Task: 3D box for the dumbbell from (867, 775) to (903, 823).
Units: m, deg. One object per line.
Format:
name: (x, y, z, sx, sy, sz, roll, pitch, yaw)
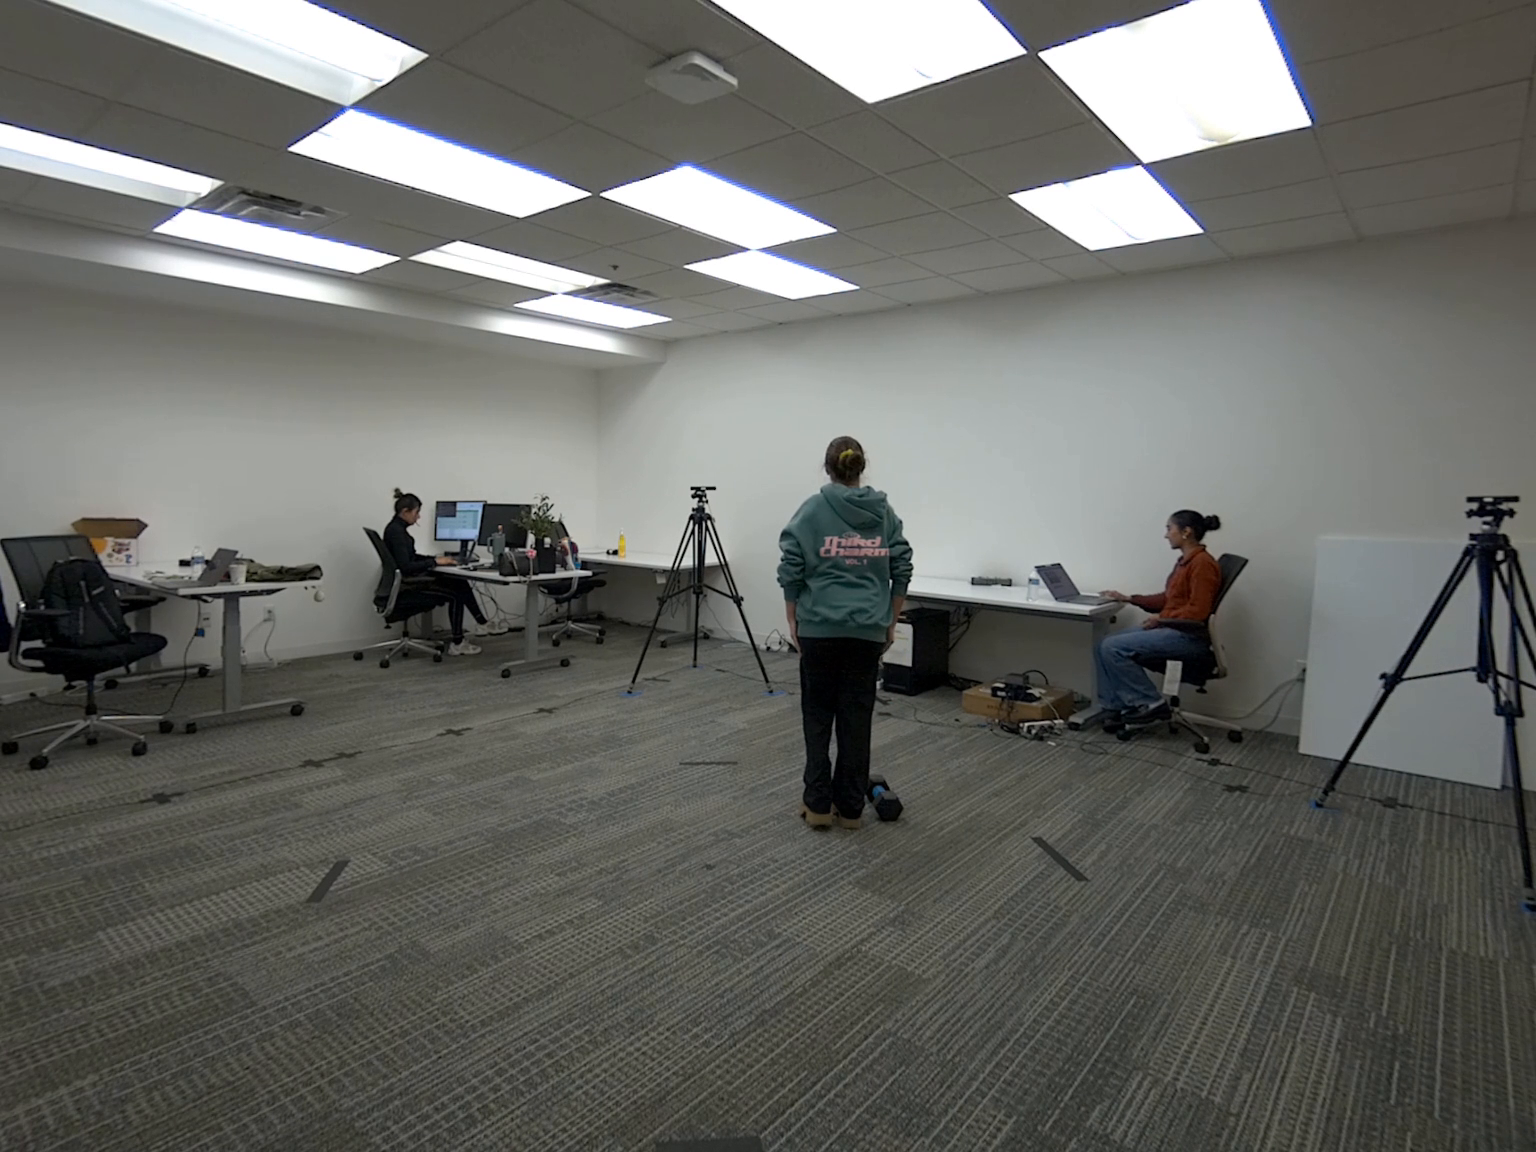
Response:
dumbbell: (0.491, 0.964, 3.727, 0.108, 0.123, 0.296, 30, 2, -8)
